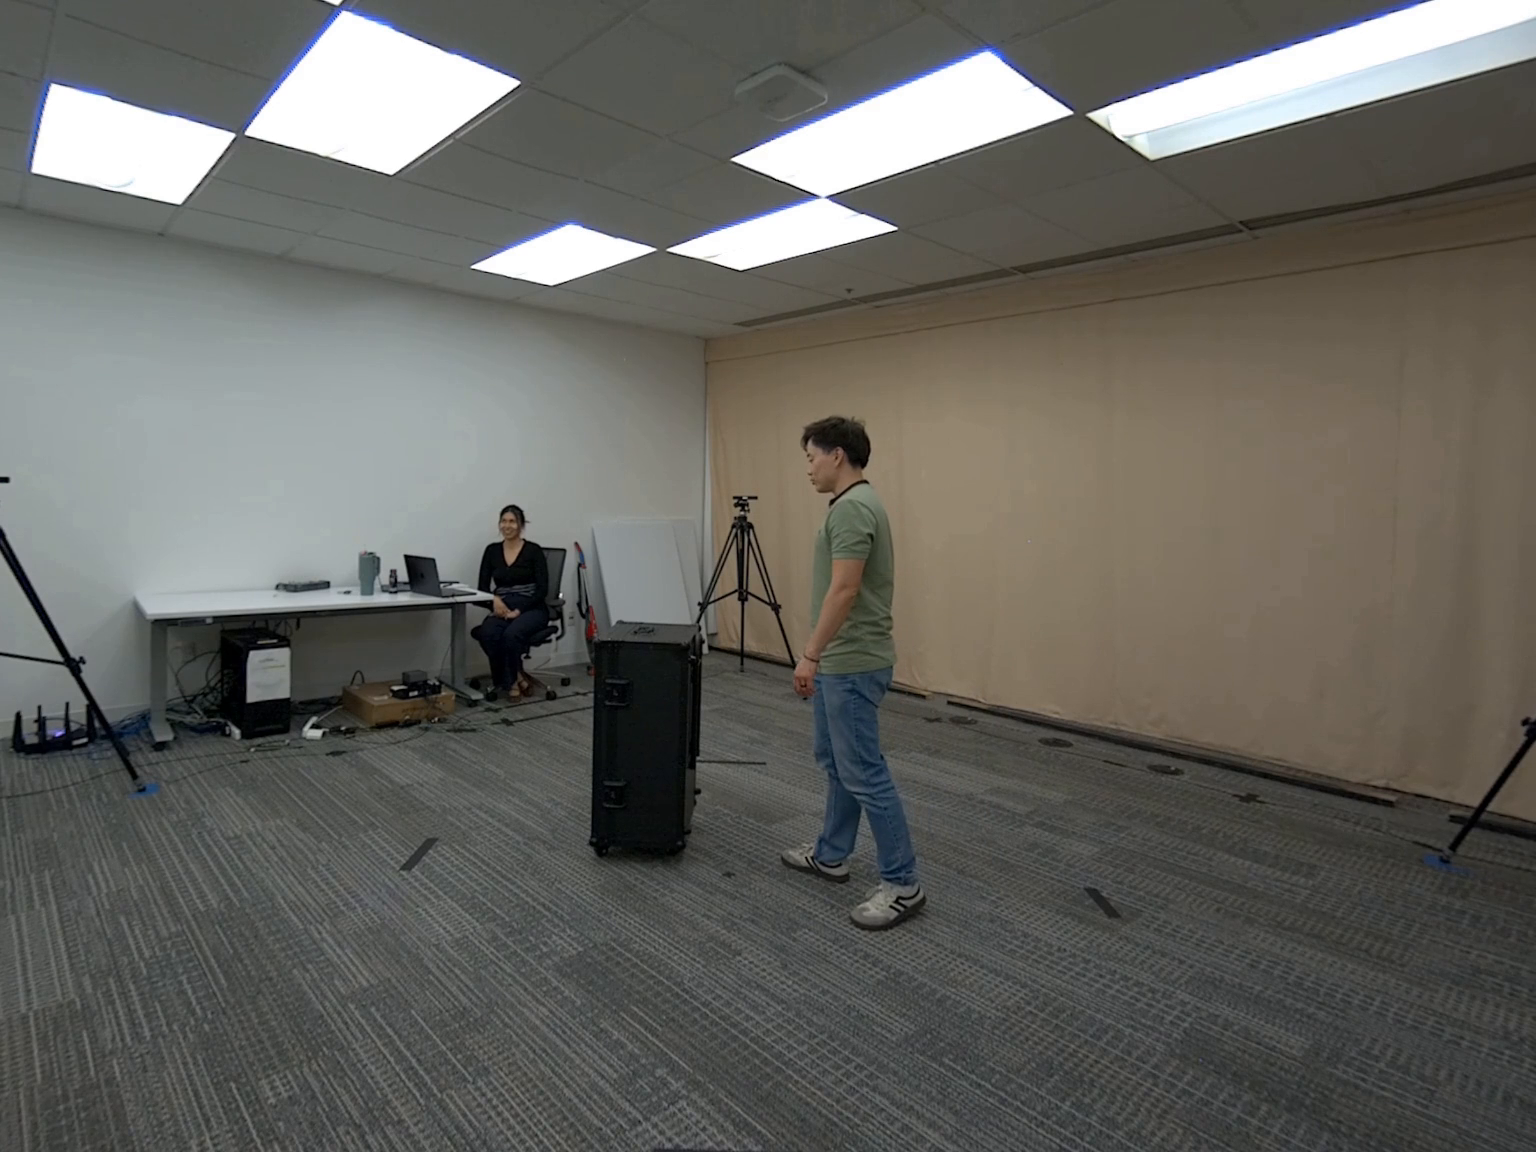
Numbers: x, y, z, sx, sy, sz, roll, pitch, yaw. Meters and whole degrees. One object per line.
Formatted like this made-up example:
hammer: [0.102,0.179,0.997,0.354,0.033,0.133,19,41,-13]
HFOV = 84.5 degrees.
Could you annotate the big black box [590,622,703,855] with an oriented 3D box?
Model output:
big black box: [-0.476,0.645,3.378,0.397,0.859,0.521,2,4,2]
